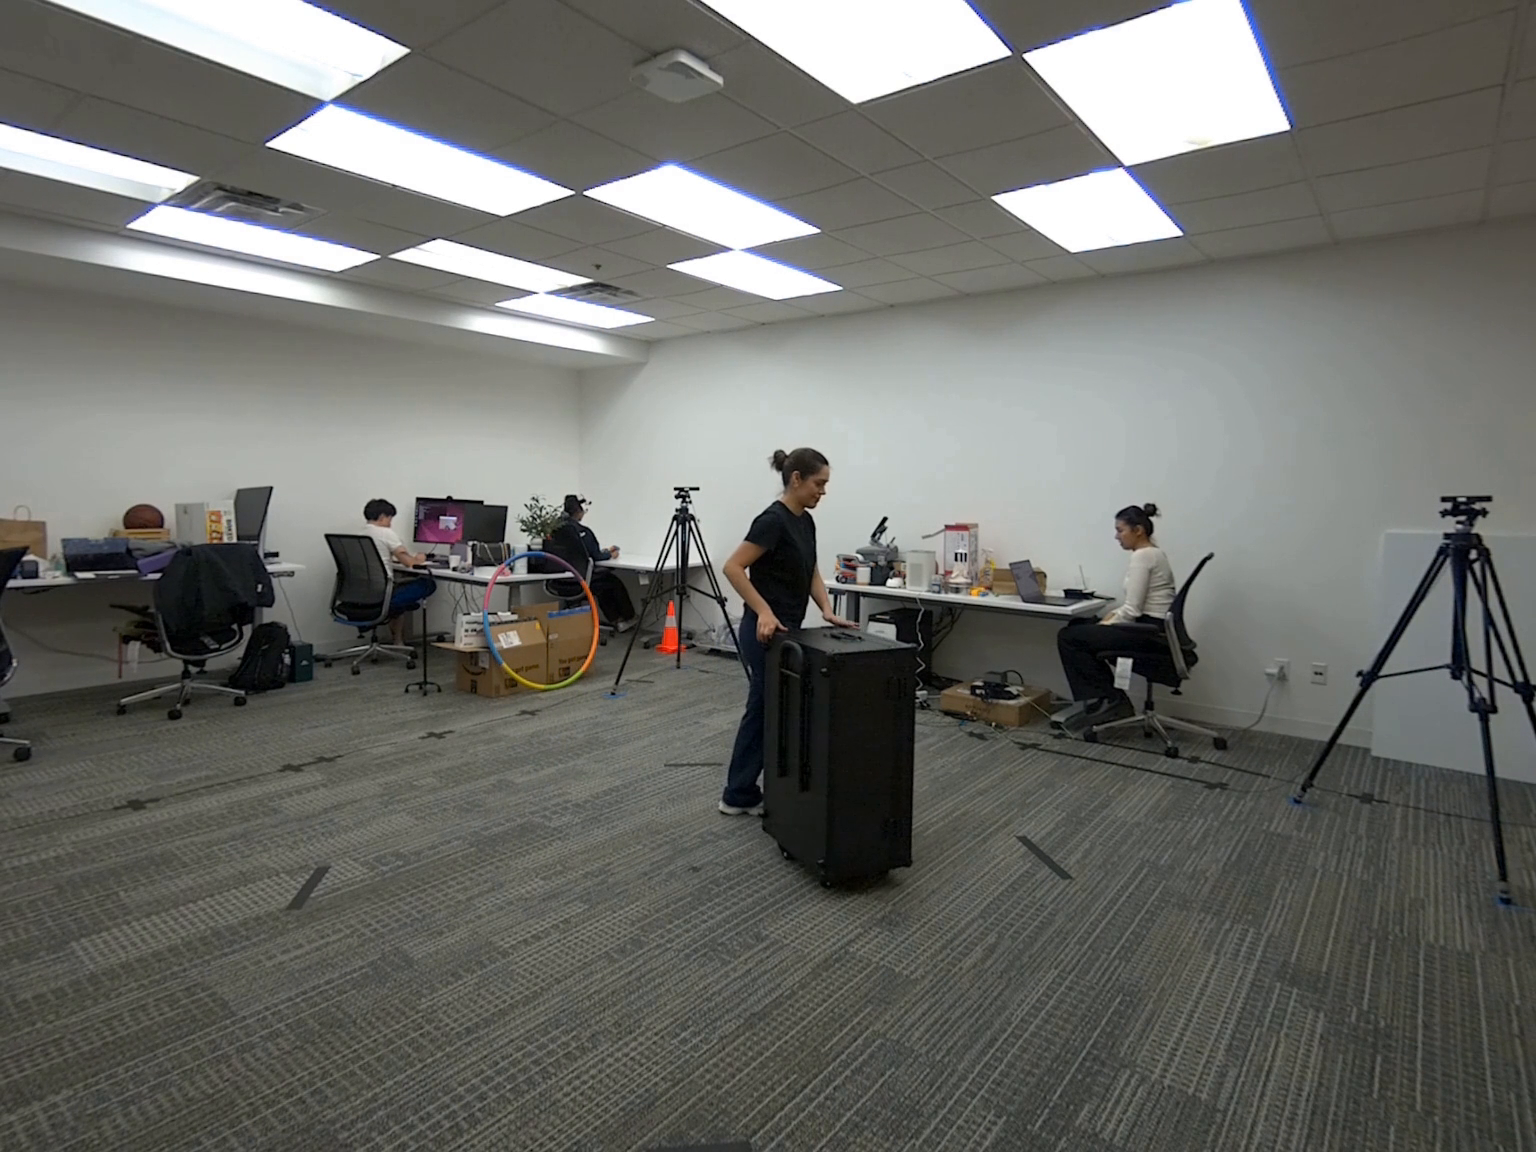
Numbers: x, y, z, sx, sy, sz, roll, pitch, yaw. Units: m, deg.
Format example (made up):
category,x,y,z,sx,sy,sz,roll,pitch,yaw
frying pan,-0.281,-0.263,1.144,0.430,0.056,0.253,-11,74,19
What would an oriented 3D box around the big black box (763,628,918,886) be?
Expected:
category,x,y,z,sx,sy,sz,roll,pitch,yaw
big black box,0.260,0.649,3.127,0.387,0.858,0.535,-2,4,-25
